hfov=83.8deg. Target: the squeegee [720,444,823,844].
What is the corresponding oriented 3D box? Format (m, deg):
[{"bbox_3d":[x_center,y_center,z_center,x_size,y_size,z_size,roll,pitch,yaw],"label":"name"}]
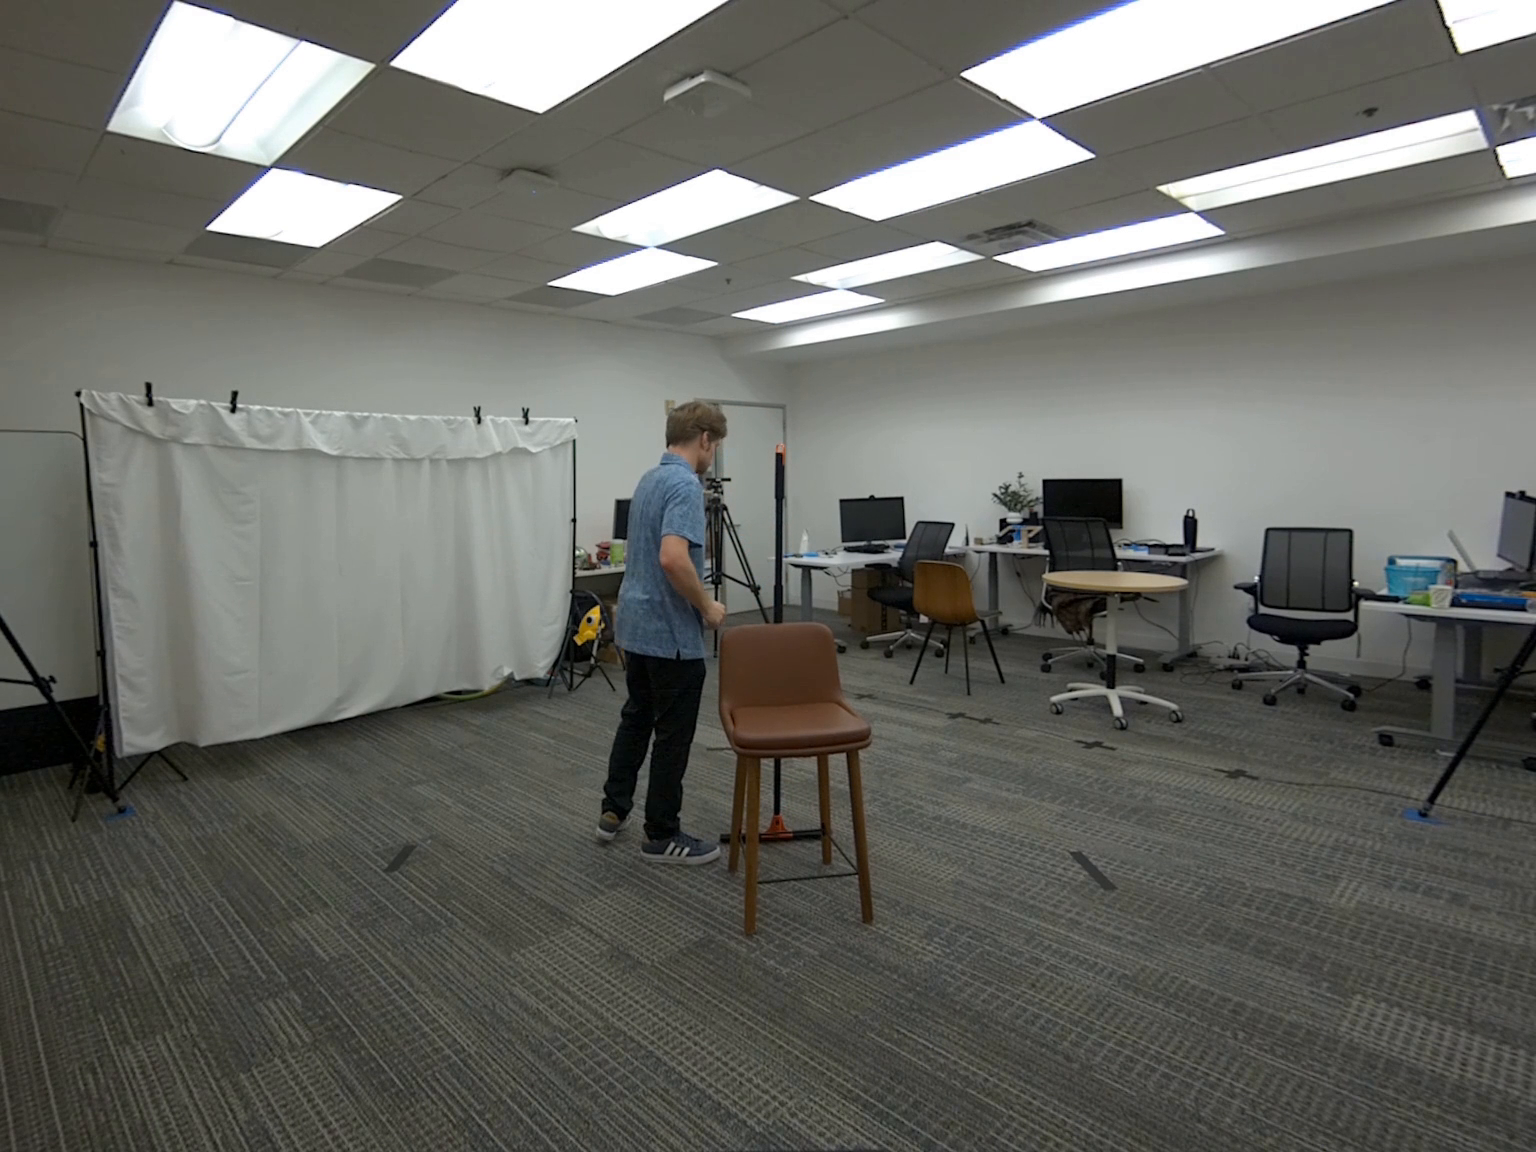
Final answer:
[{"bbox_3d":[0.011,0.275,3.117,0.450,1.518,0.052,10,16,30],"label":"squeegee"}]
